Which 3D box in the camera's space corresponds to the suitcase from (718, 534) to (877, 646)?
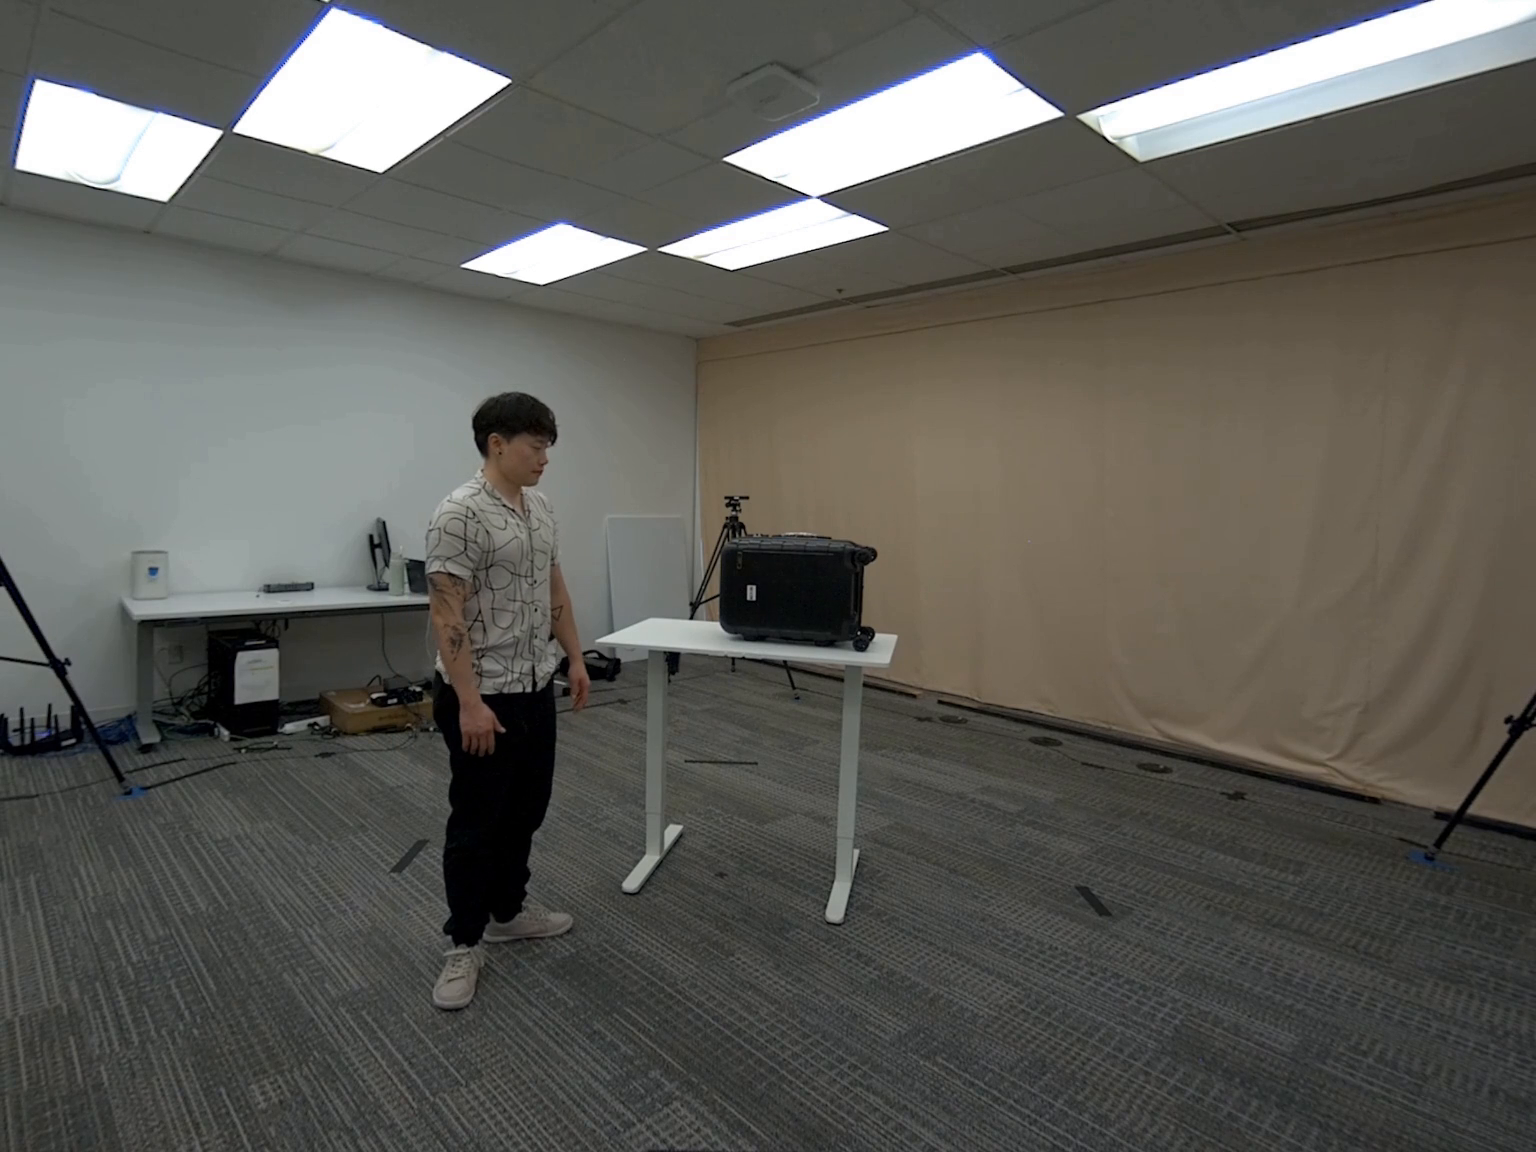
[{"bbox_3d":[0.094,0.042,3.018,0.556,0.374,0.246,4,4,14],"label":"suitcase"}]
